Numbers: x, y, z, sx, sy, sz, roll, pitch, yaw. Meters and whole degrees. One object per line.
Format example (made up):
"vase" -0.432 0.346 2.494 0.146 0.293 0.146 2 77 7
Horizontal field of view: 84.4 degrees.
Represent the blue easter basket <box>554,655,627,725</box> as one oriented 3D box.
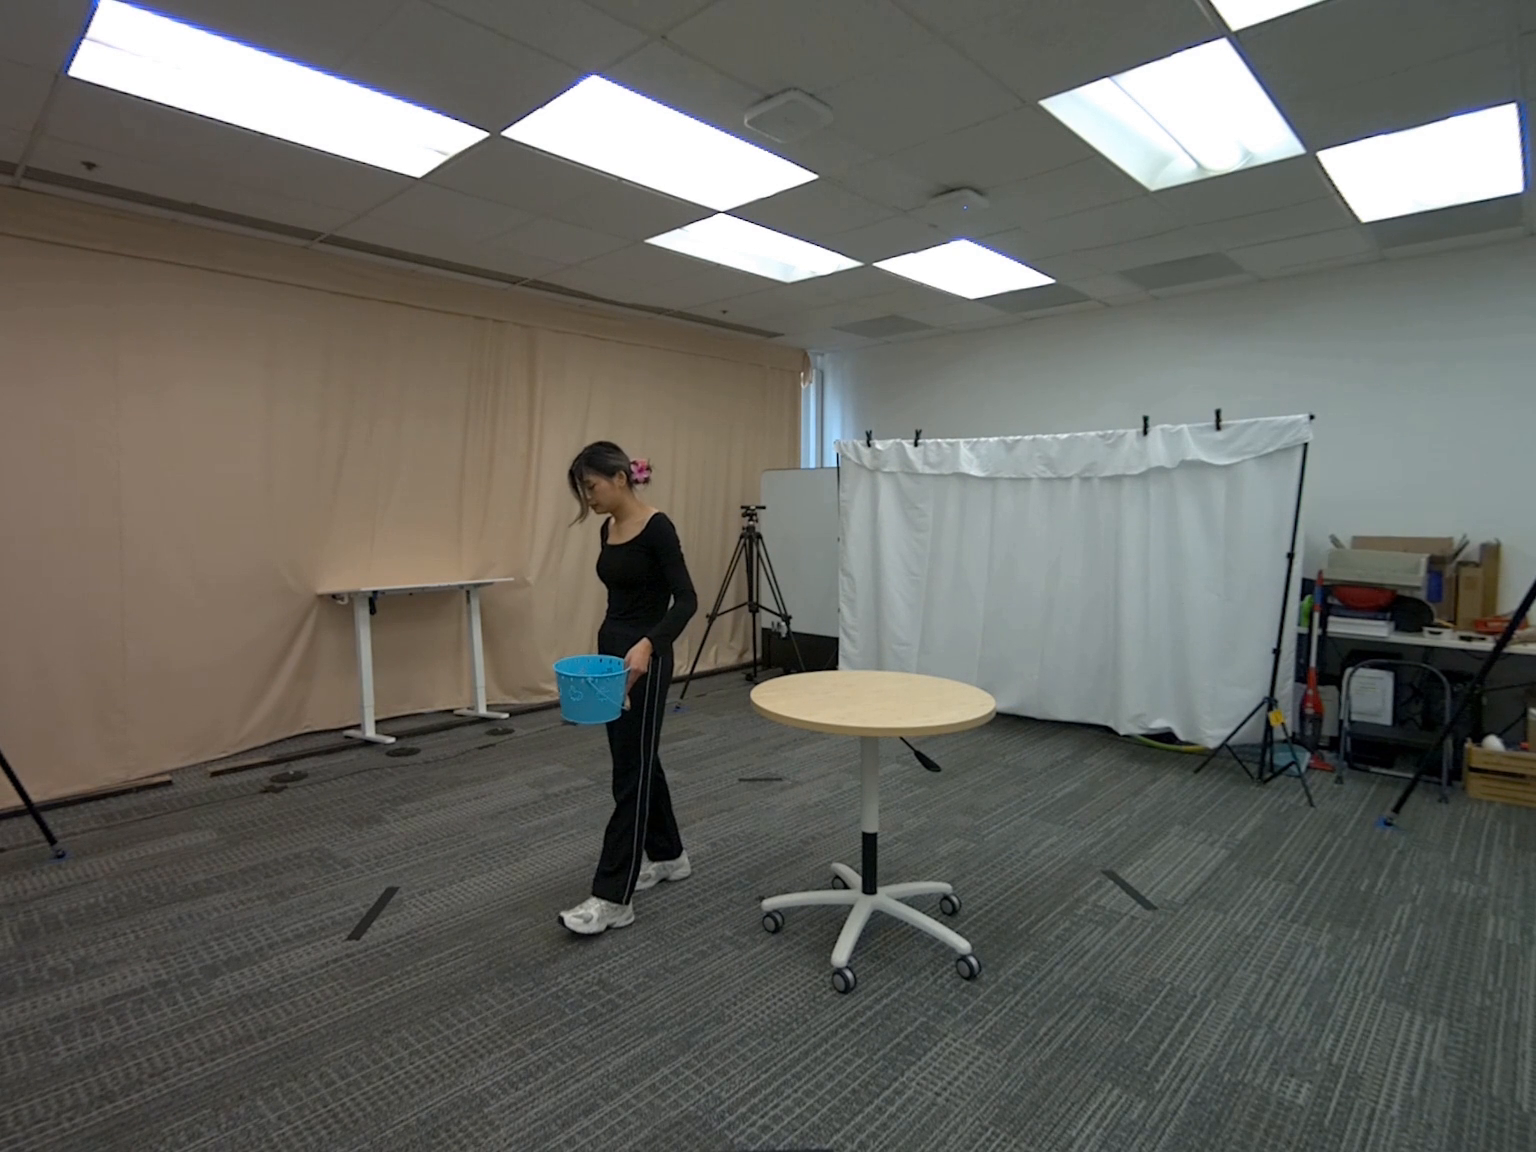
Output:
"blue easter basket" -0.538 0.345 2.556 0.243 0.155 0.245 2 8 -2
